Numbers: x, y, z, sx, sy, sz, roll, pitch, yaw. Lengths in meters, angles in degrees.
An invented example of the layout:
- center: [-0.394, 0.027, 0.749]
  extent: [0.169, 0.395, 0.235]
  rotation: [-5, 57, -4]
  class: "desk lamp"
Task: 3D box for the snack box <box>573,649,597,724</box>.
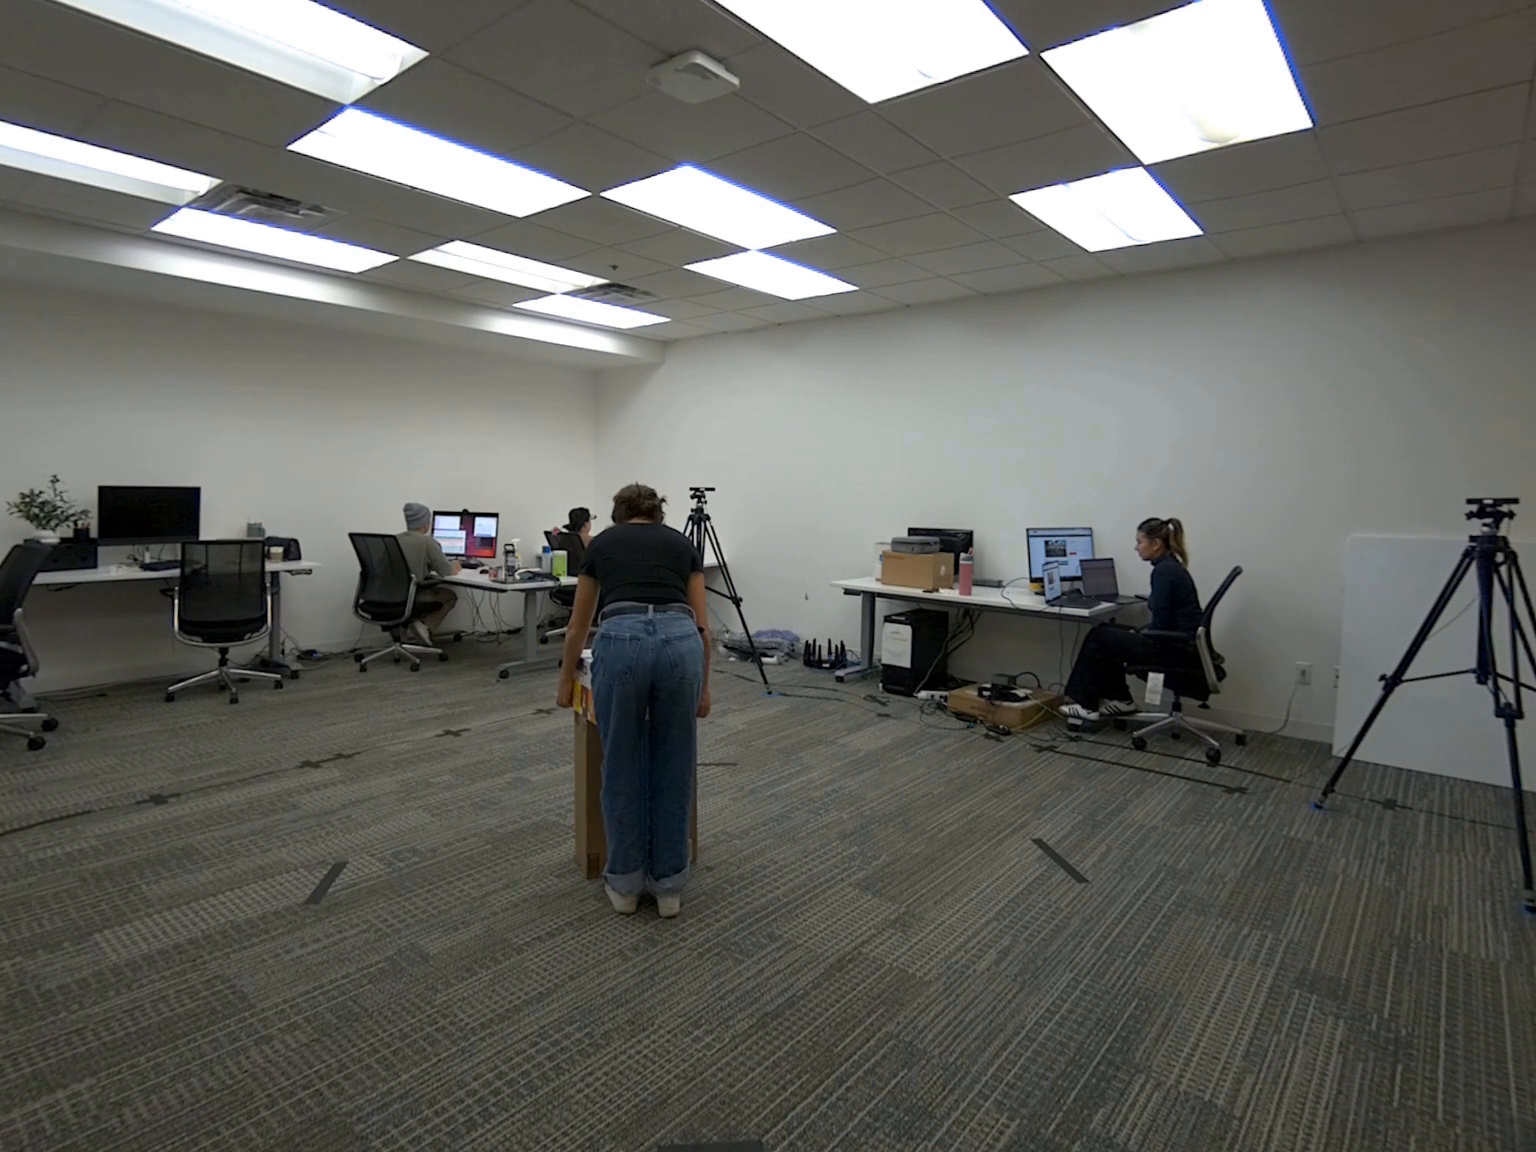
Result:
- center: [-0.505, 0.388, 3.140]
  extent: [0.395, 0.205, 0.350]
  rotation: [-1, 6, -29]
  class: "snack box"
